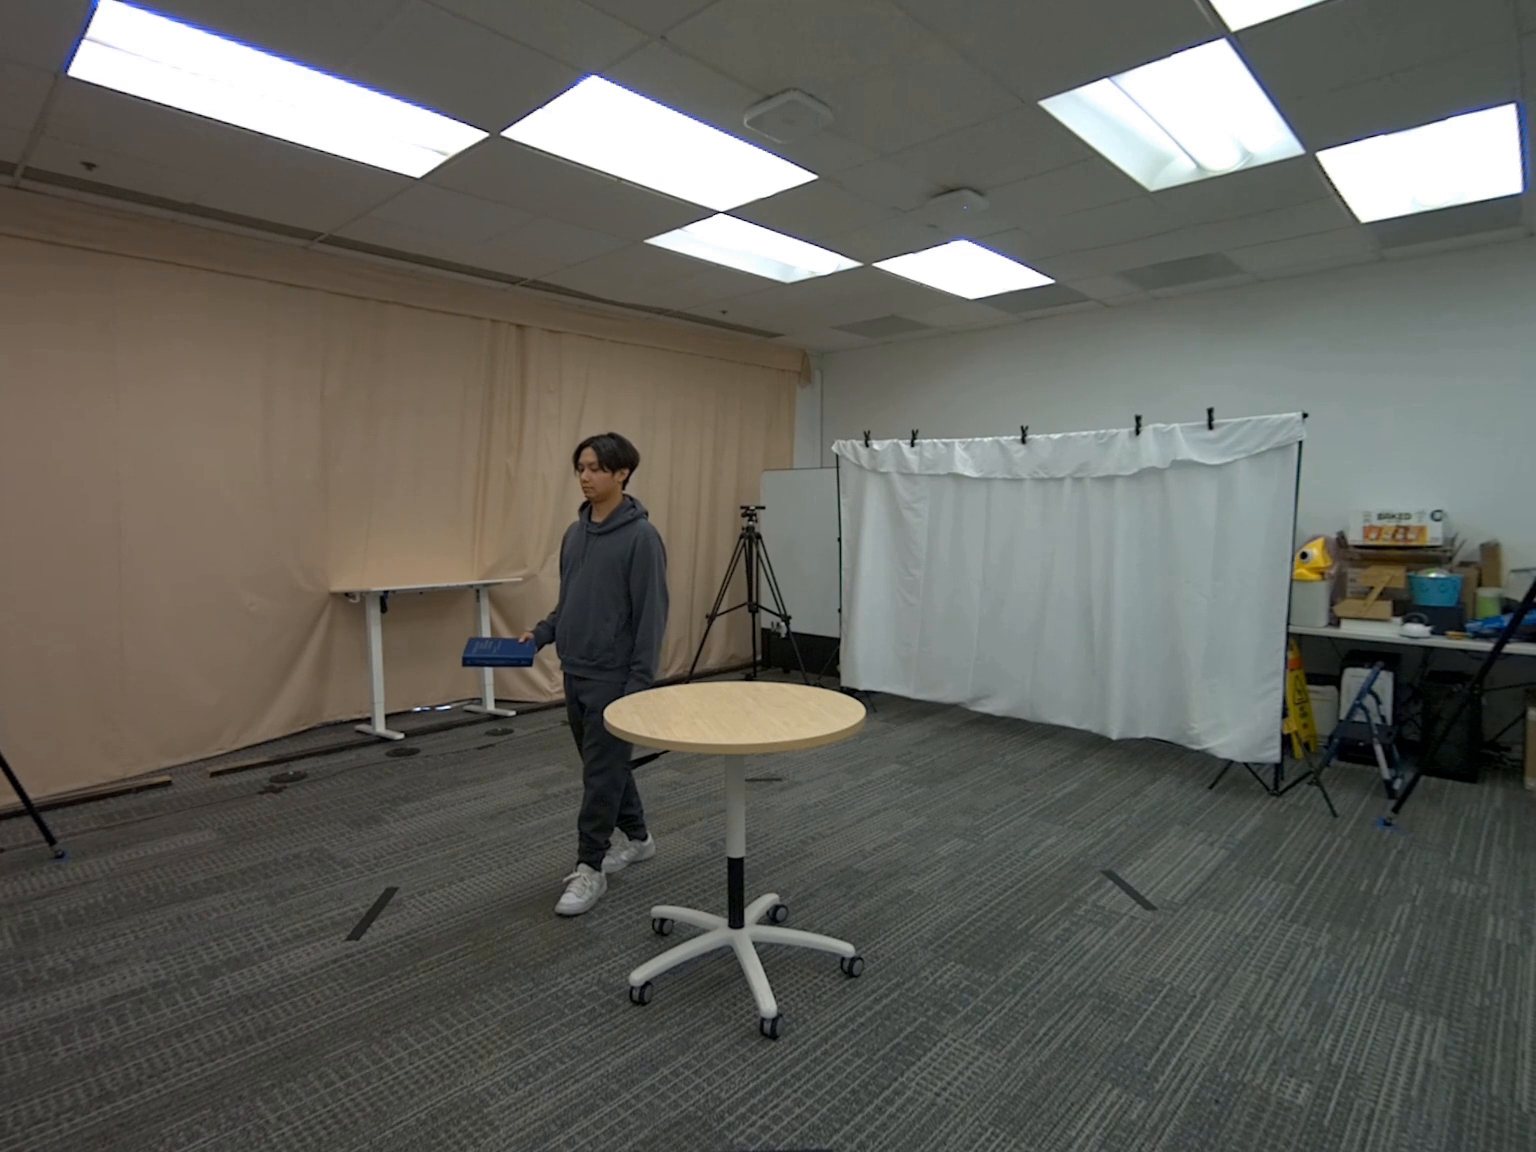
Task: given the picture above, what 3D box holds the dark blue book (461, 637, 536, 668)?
[{"bbox_3d":[-0.969,0.279,3.037,0.244,0.045,0.165,2,16,-5],"label":"dark blue book"}]
